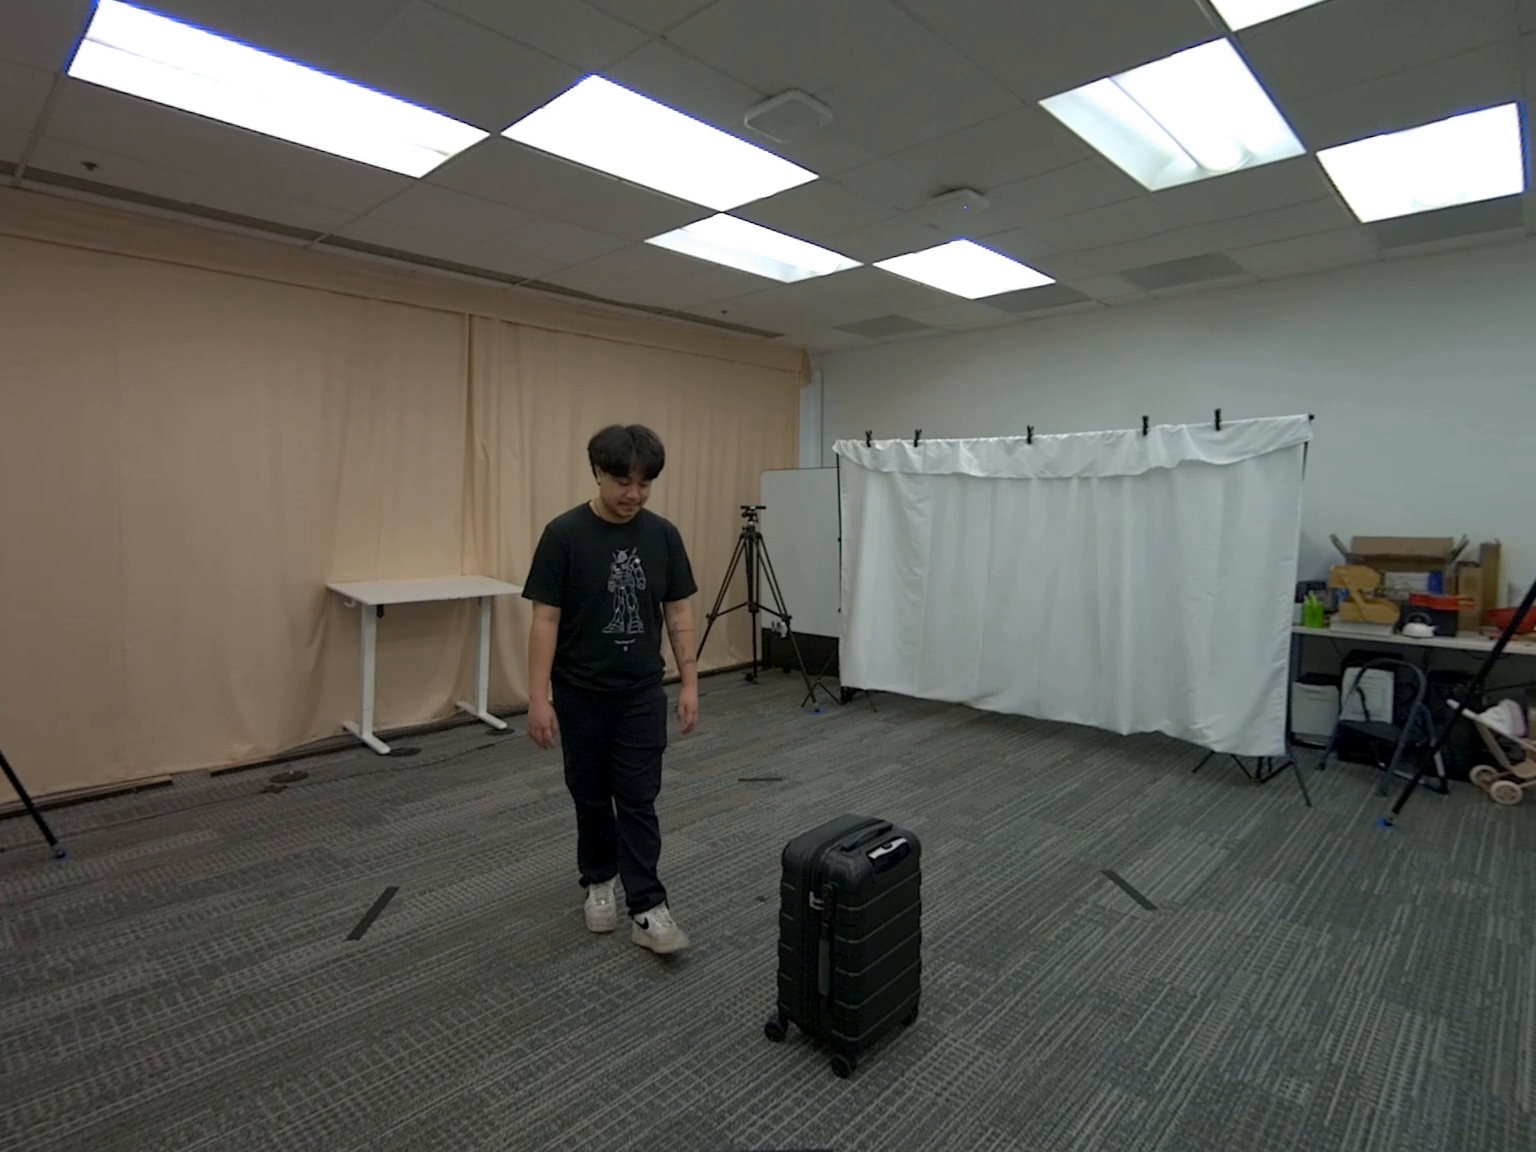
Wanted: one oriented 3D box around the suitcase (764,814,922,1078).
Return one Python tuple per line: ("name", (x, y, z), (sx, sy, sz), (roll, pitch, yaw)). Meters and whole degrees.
("suitcase", (0.220, 0.933, 2.208), (0.257, 0.548, 0.364), (5, 5, 42))
